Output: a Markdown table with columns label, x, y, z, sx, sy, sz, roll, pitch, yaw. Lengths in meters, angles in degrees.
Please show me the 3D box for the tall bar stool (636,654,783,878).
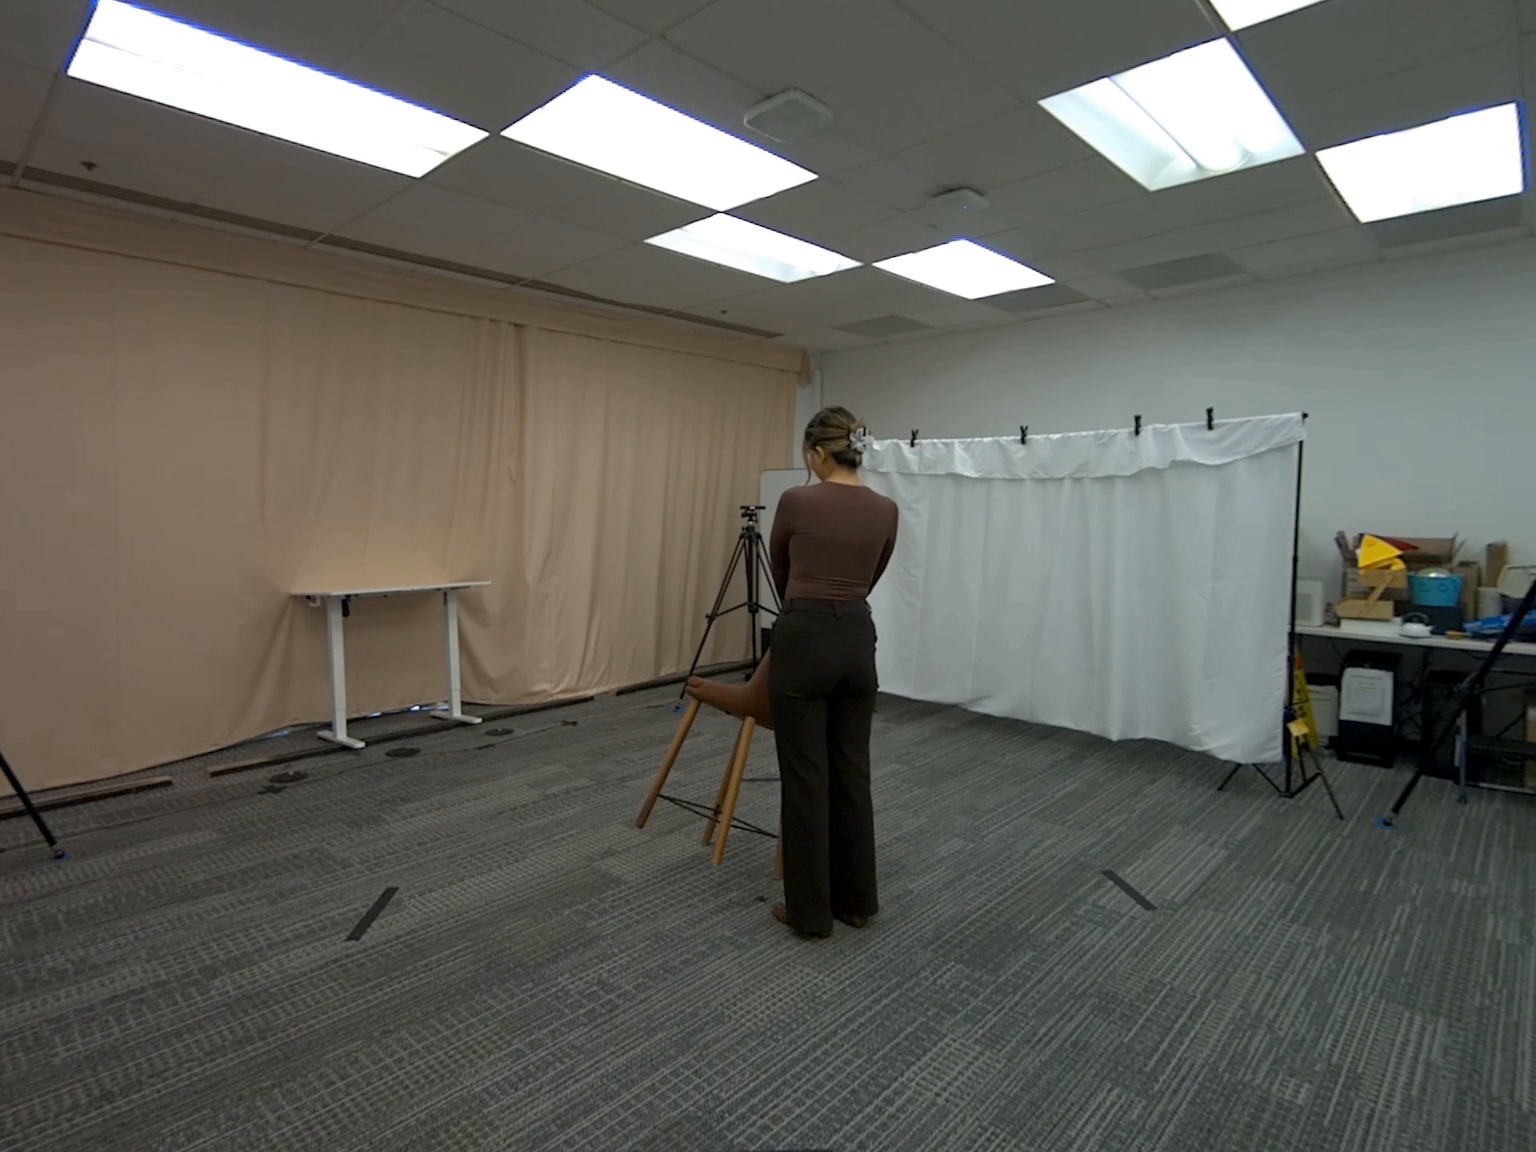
| label | x | y | z | sx | sy | sz | roll | pitch | yaw |
| --- | --- | --- | --- | --- | --- | --- | --- | --- | --- |
| tall bar stool | -0.091 | 0.645 | 3.279 | 0.484 | 0.892 | 0.440 | 7 | -16 | 46 |
